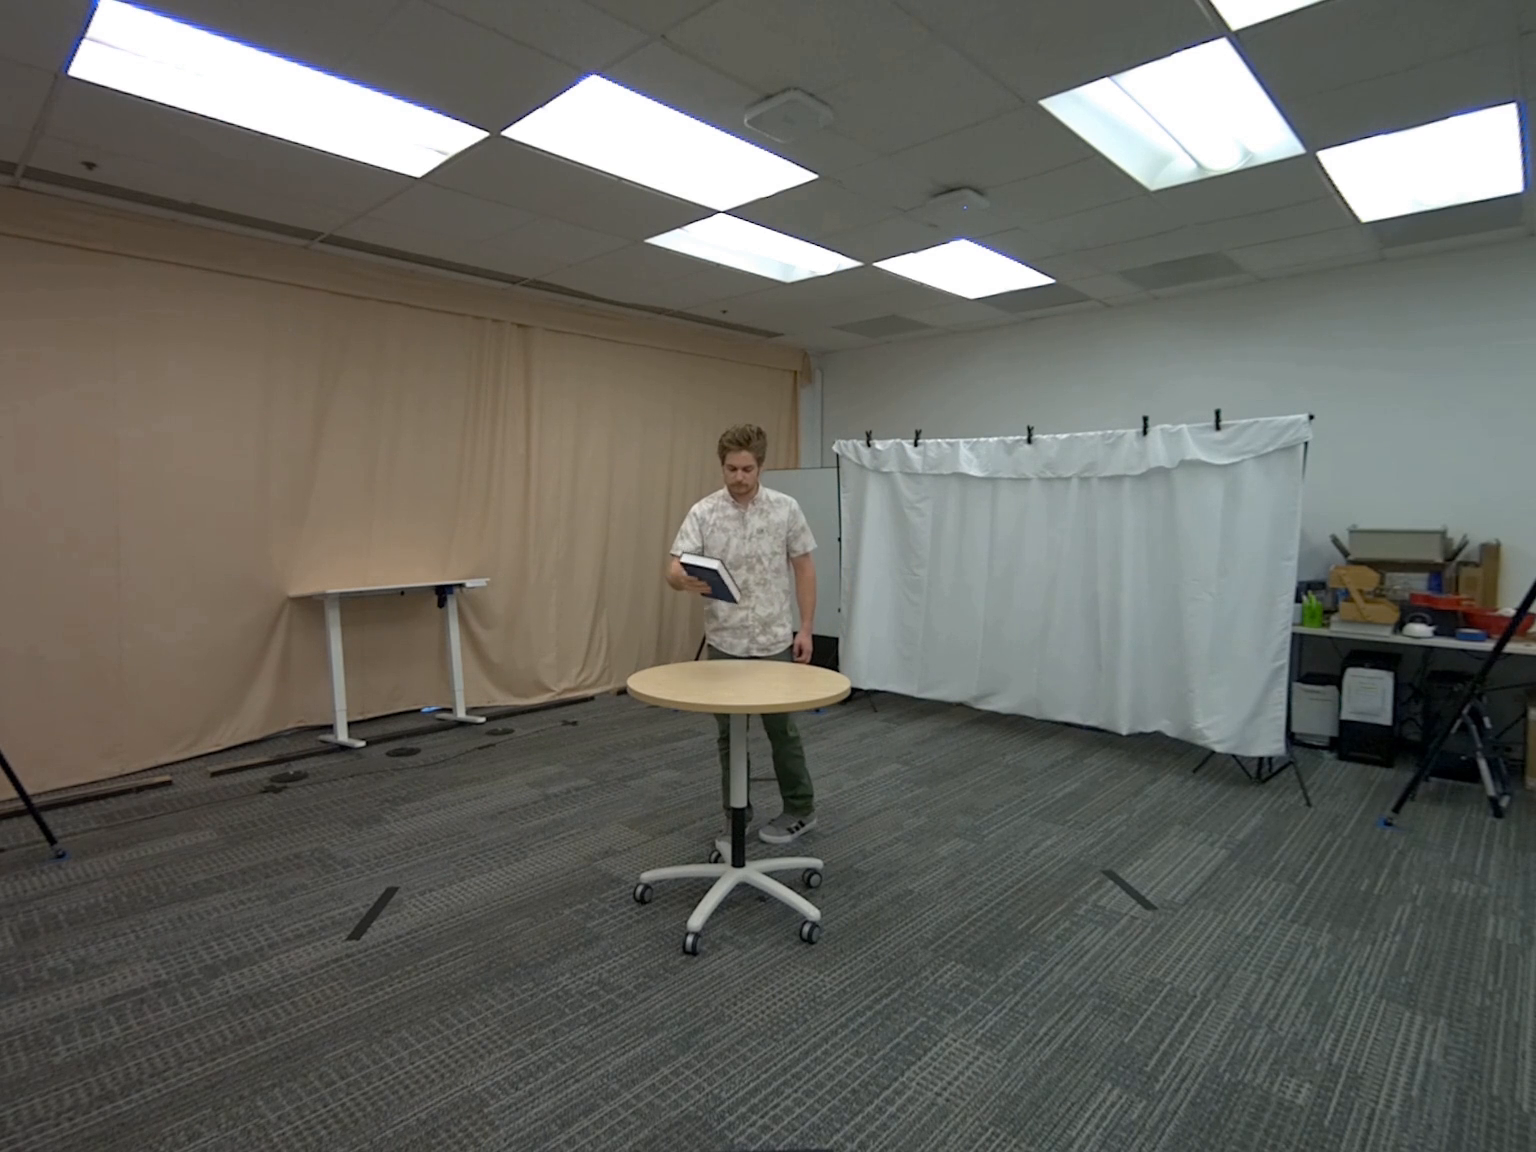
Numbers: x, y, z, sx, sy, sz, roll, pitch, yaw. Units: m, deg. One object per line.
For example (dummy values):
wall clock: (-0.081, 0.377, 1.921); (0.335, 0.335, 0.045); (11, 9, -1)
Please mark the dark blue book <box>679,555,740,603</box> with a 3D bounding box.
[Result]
dark blue book: (-0.218, 0.009, 3.042); (0.168, 0.045, 0.237); (12, -27, 28)
